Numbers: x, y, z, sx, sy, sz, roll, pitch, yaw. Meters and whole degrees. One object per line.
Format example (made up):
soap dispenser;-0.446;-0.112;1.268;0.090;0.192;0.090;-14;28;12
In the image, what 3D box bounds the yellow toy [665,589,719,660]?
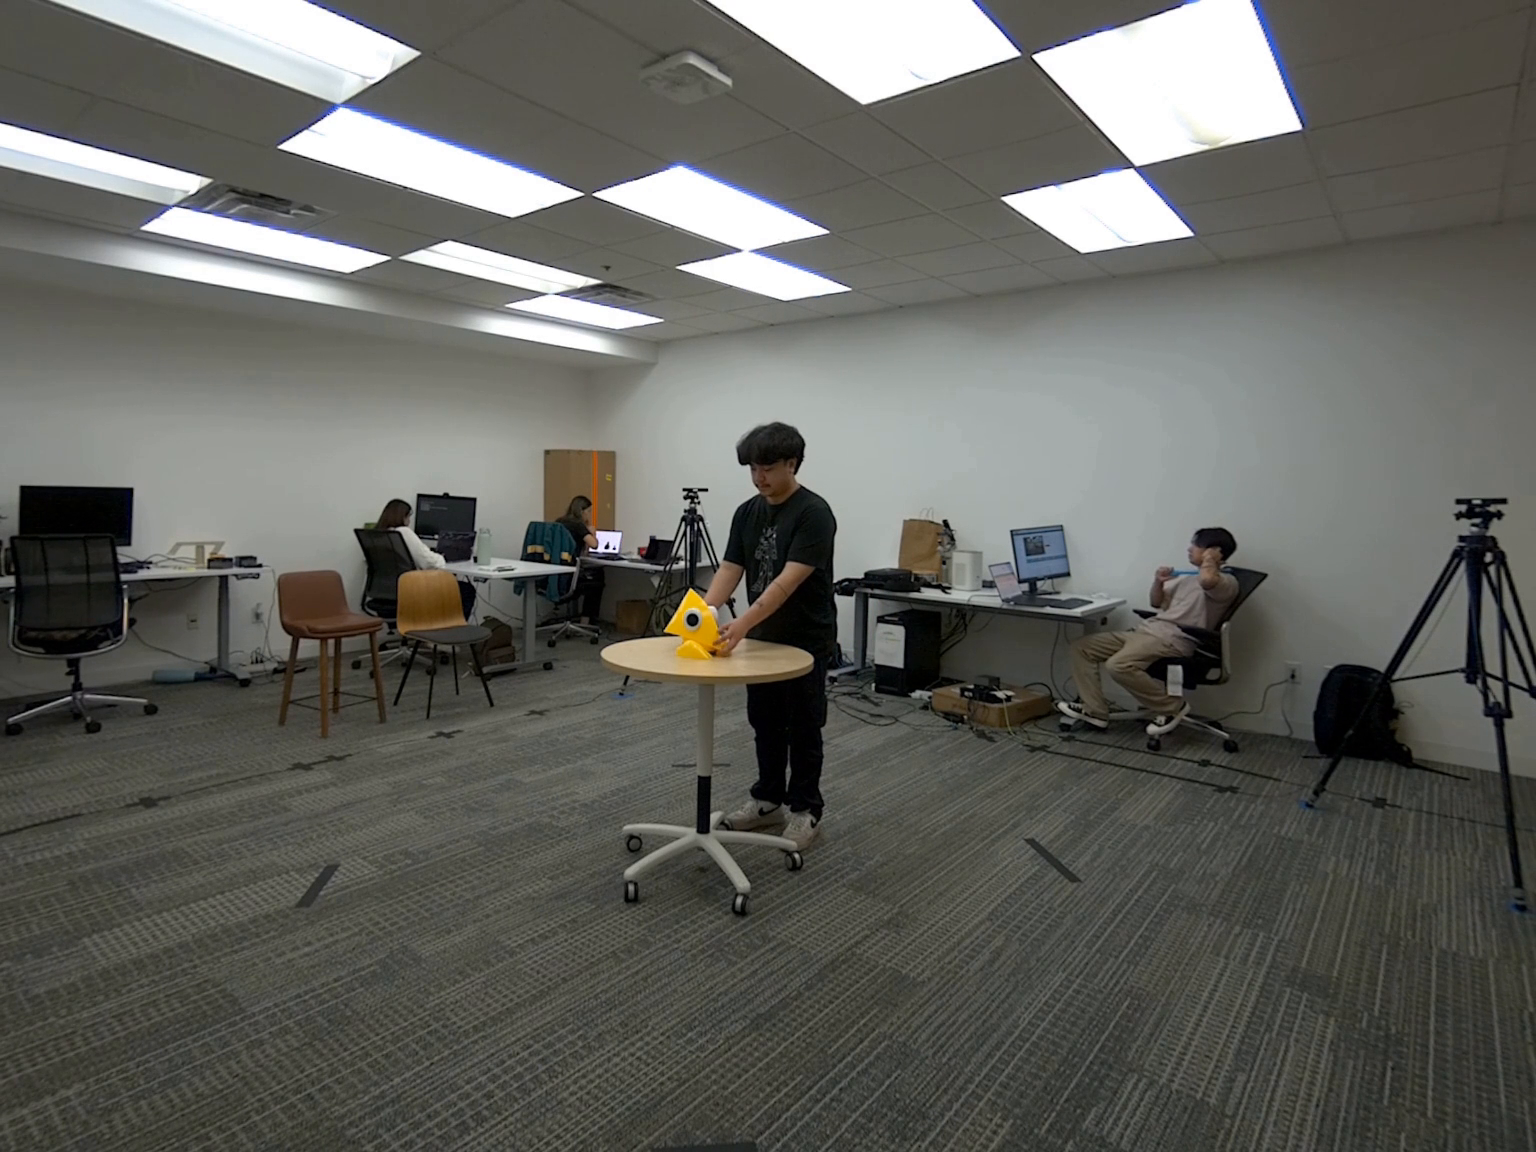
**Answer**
yellow toy;-0.253;0.165;3.076;0.199;0.230;0.199;5;6;38
